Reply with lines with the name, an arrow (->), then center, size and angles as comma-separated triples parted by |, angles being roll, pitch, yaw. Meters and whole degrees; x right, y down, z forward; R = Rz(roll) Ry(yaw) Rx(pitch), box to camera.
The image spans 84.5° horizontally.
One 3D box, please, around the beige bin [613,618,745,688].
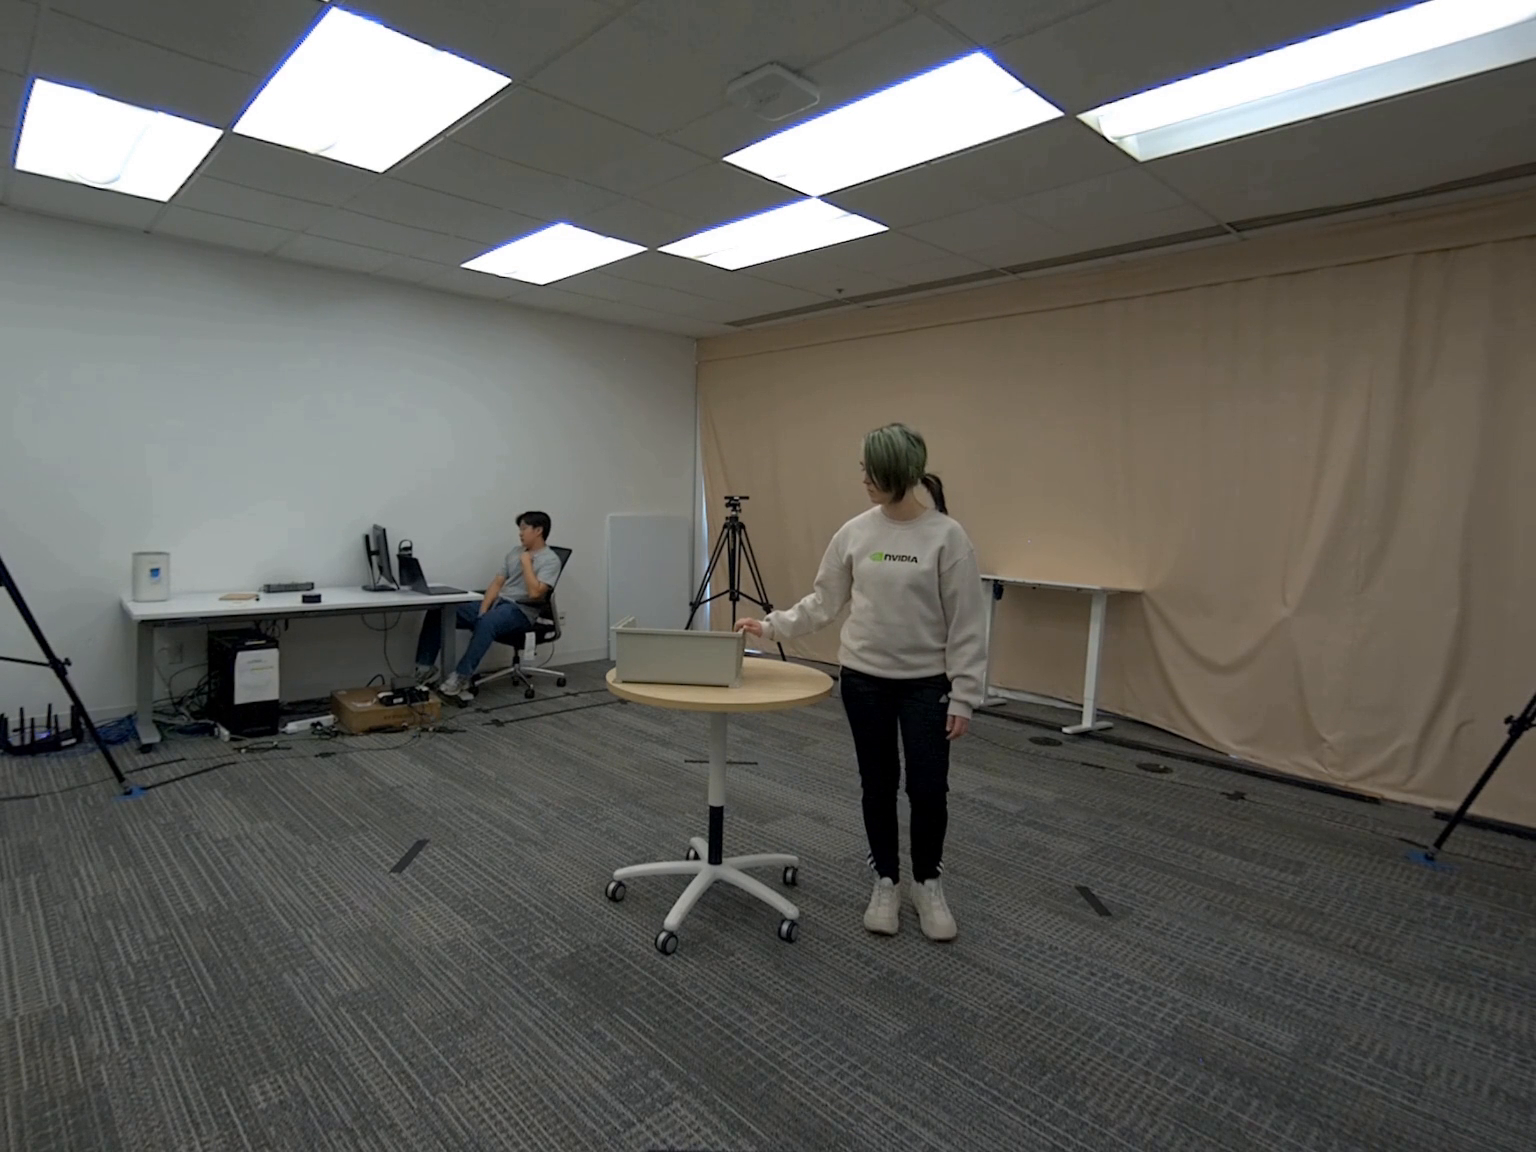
beige bin -> -0.291, 0.242, 2.860 | 0.424, 0.188, 0.378 | 2, 7, 3
